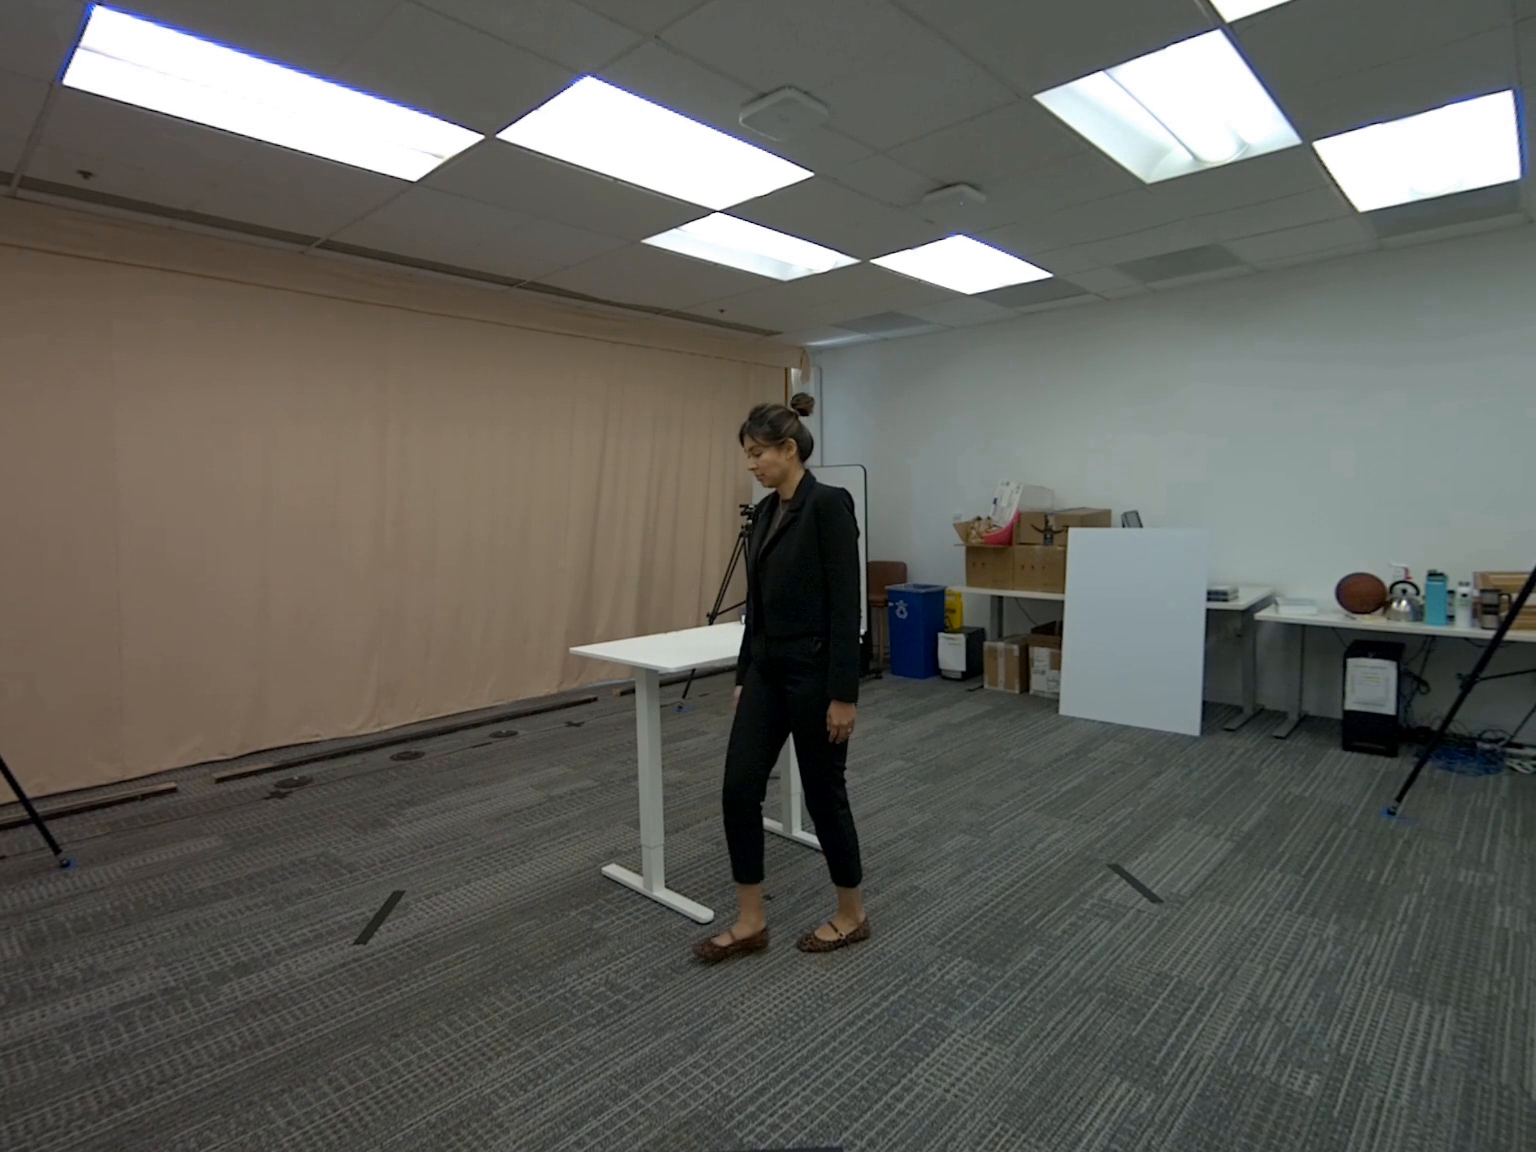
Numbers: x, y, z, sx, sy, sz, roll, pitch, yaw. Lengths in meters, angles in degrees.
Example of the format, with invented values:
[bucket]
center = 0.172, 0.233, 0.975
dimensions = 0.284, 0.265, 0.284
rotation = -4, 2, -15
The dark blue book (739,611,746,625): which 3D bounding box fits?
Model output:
[dark blue book]
center = -0.047, 0.171, 3.713
dimensions = 0.163, 0.045, 0.246
rotation = -2, 5, -4
